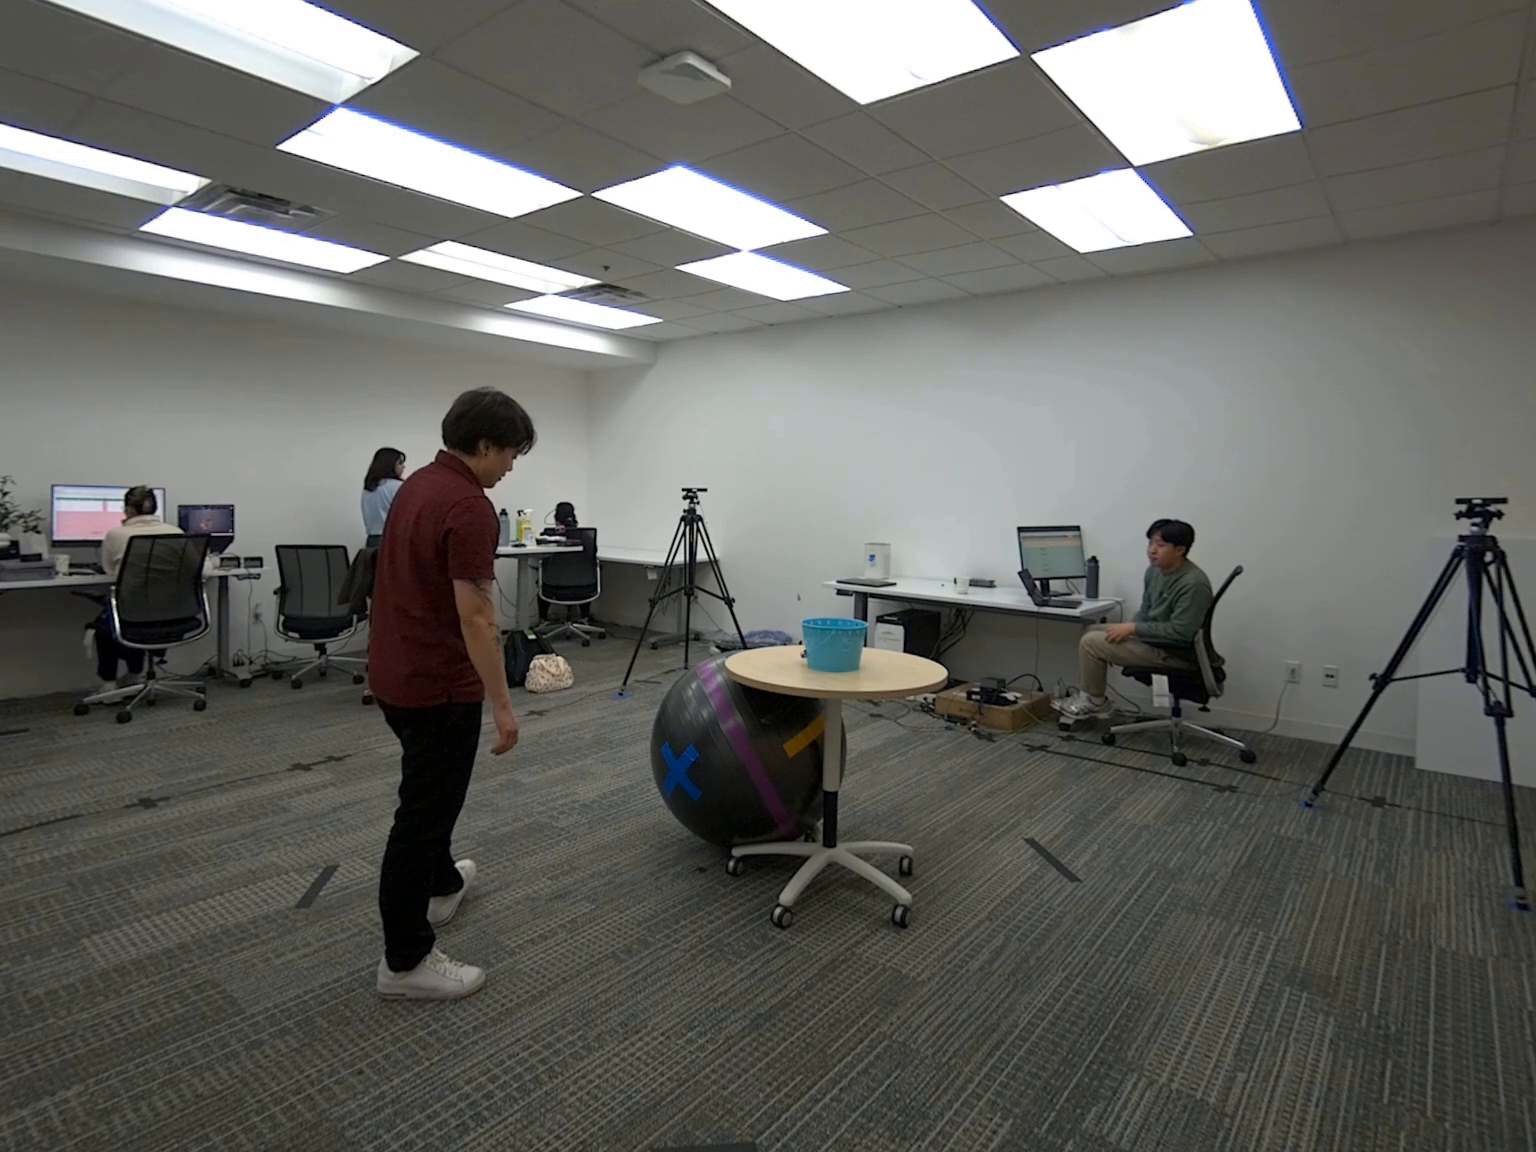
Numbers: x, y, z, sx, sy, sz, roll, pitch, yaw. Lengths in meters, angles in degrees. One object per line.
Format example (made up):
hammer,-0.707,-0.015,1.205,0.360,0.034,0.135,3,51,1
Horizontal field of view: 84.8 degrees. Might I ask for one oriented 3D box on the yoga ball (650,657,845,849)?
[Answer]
yoga ball,-0.088,0.673,3.302,0.757,0.756,0.761,1,4,-2
